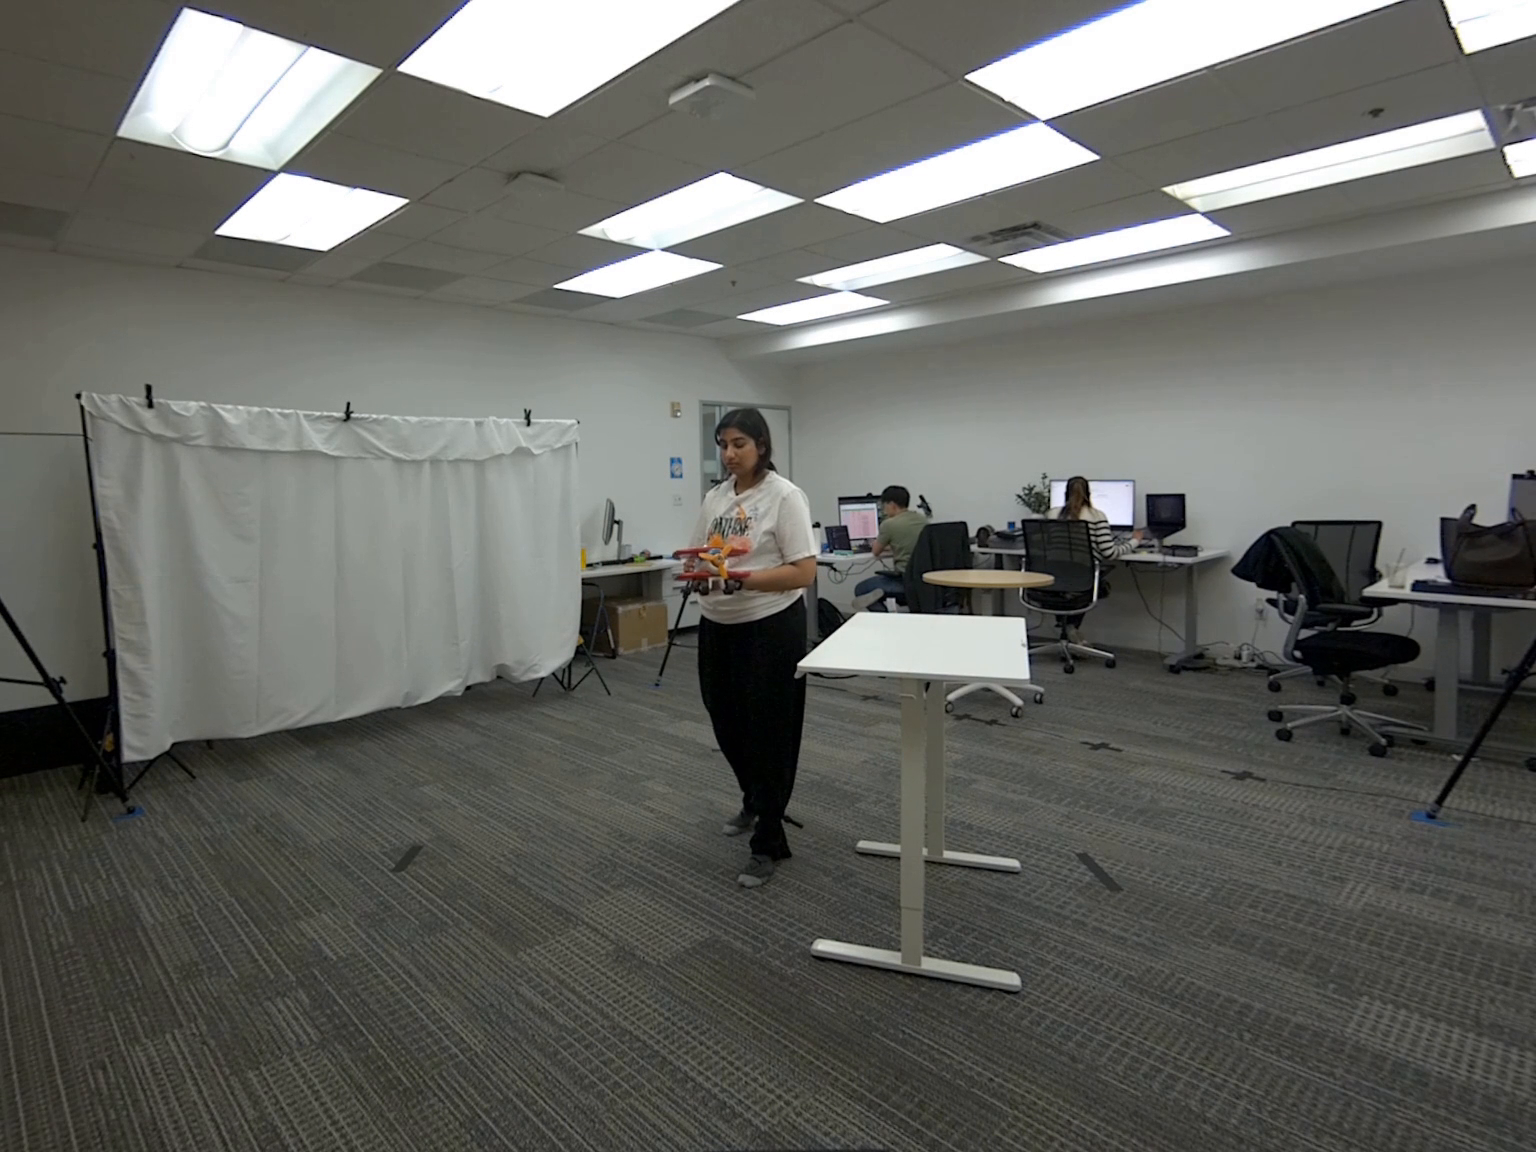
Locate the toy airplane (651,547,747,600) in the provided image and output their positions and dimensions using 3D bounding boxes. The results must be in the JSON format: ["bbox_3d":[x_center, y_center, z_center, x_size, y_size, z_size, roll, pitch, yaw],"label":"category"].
[{"bbox_3d":[-0.209,-0.014,2.839,0.267,0.156,0.244,2,3,43],"label":"toy airplane"}]
